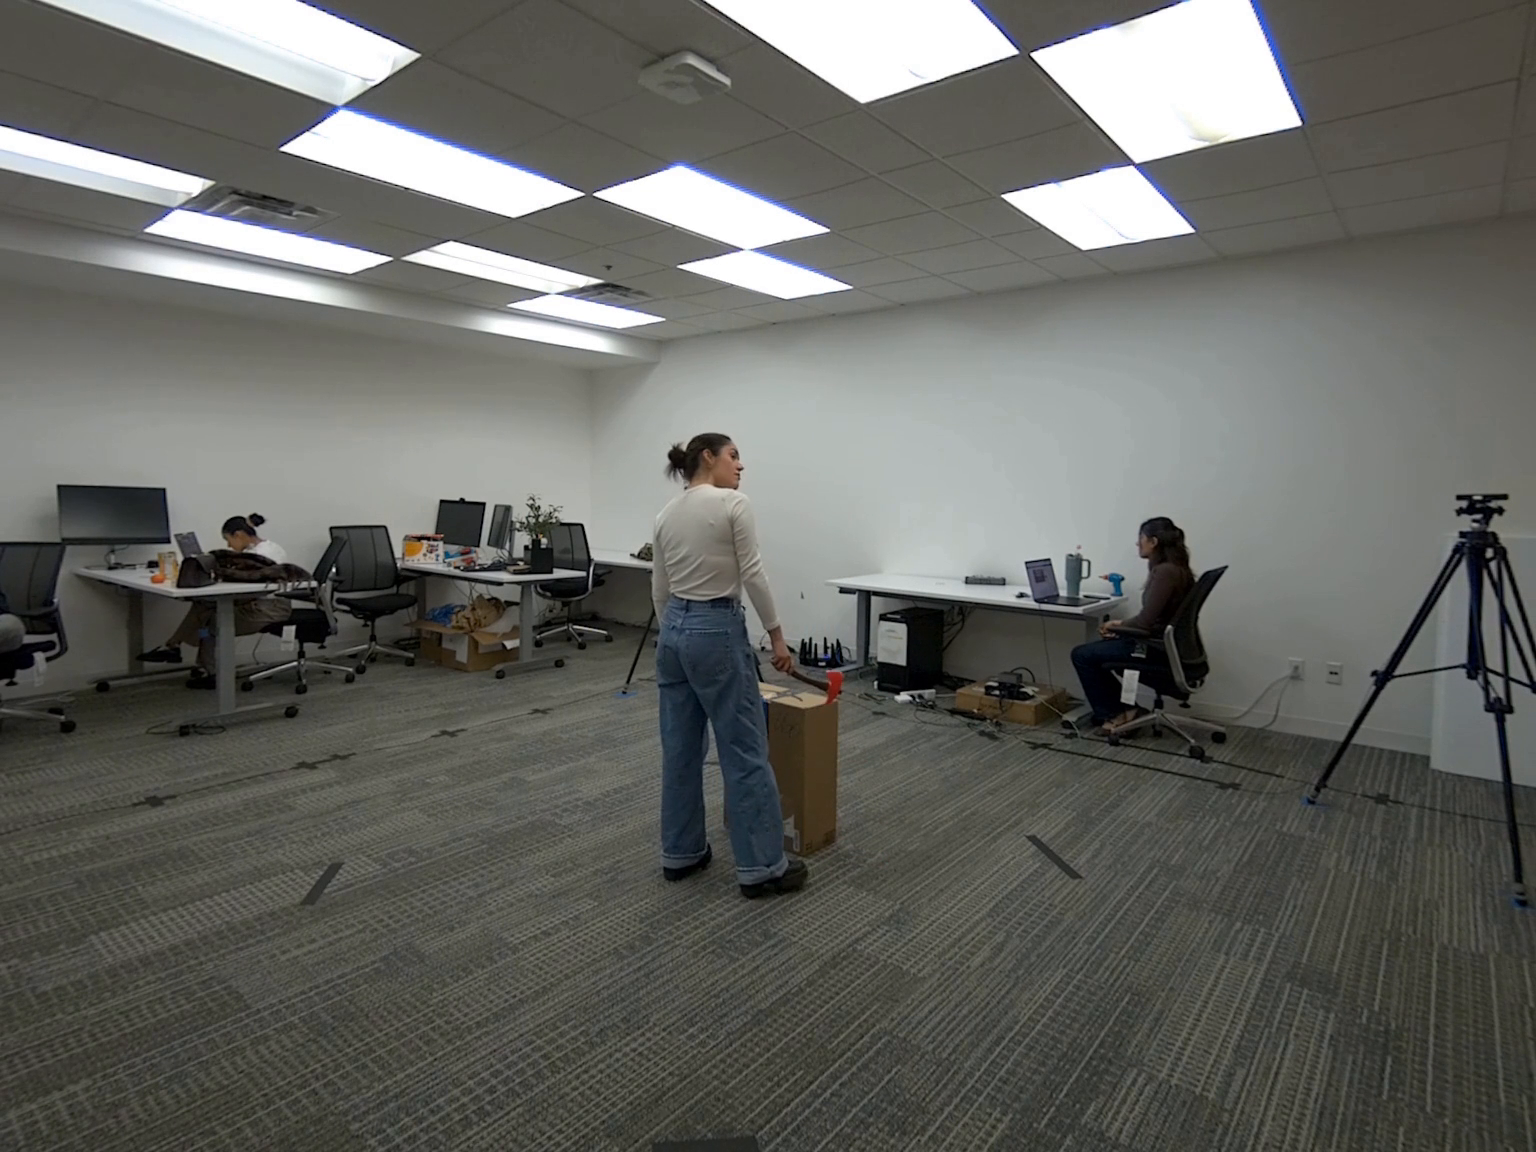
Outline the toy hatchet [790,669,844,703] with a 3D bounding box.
[{"bbox_3d":[0.142,0.338,2.992,0.270,0.131,0.029,41,10,-1],"label":"toy hatchet"}]
